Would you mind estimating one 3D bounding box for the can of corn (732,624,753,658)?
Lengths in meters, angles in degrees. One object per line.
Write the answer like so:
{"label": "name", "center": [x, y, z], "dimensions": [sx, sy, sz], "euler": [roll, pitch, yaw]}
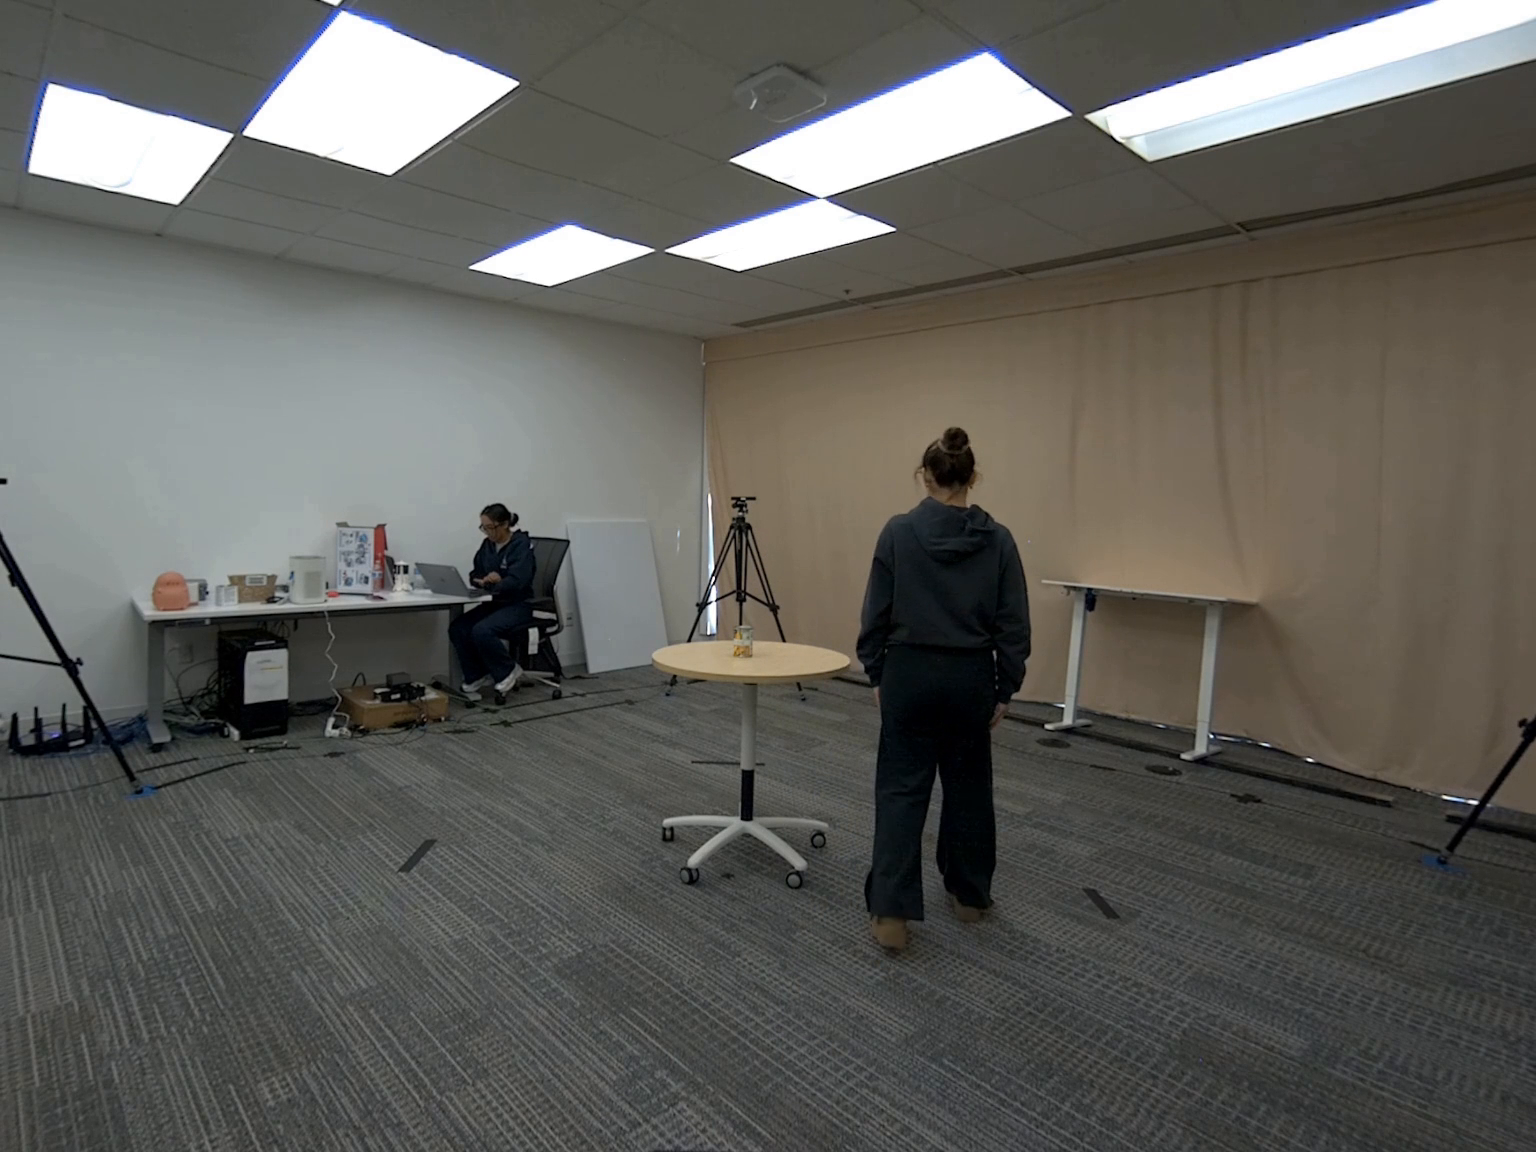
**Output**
{"label": "can of corn", "center": [-0.102, 0.251, 3.269], "dimensions": [0.074, 0.110, 0.074], "euler": [3, 6, -2]}
